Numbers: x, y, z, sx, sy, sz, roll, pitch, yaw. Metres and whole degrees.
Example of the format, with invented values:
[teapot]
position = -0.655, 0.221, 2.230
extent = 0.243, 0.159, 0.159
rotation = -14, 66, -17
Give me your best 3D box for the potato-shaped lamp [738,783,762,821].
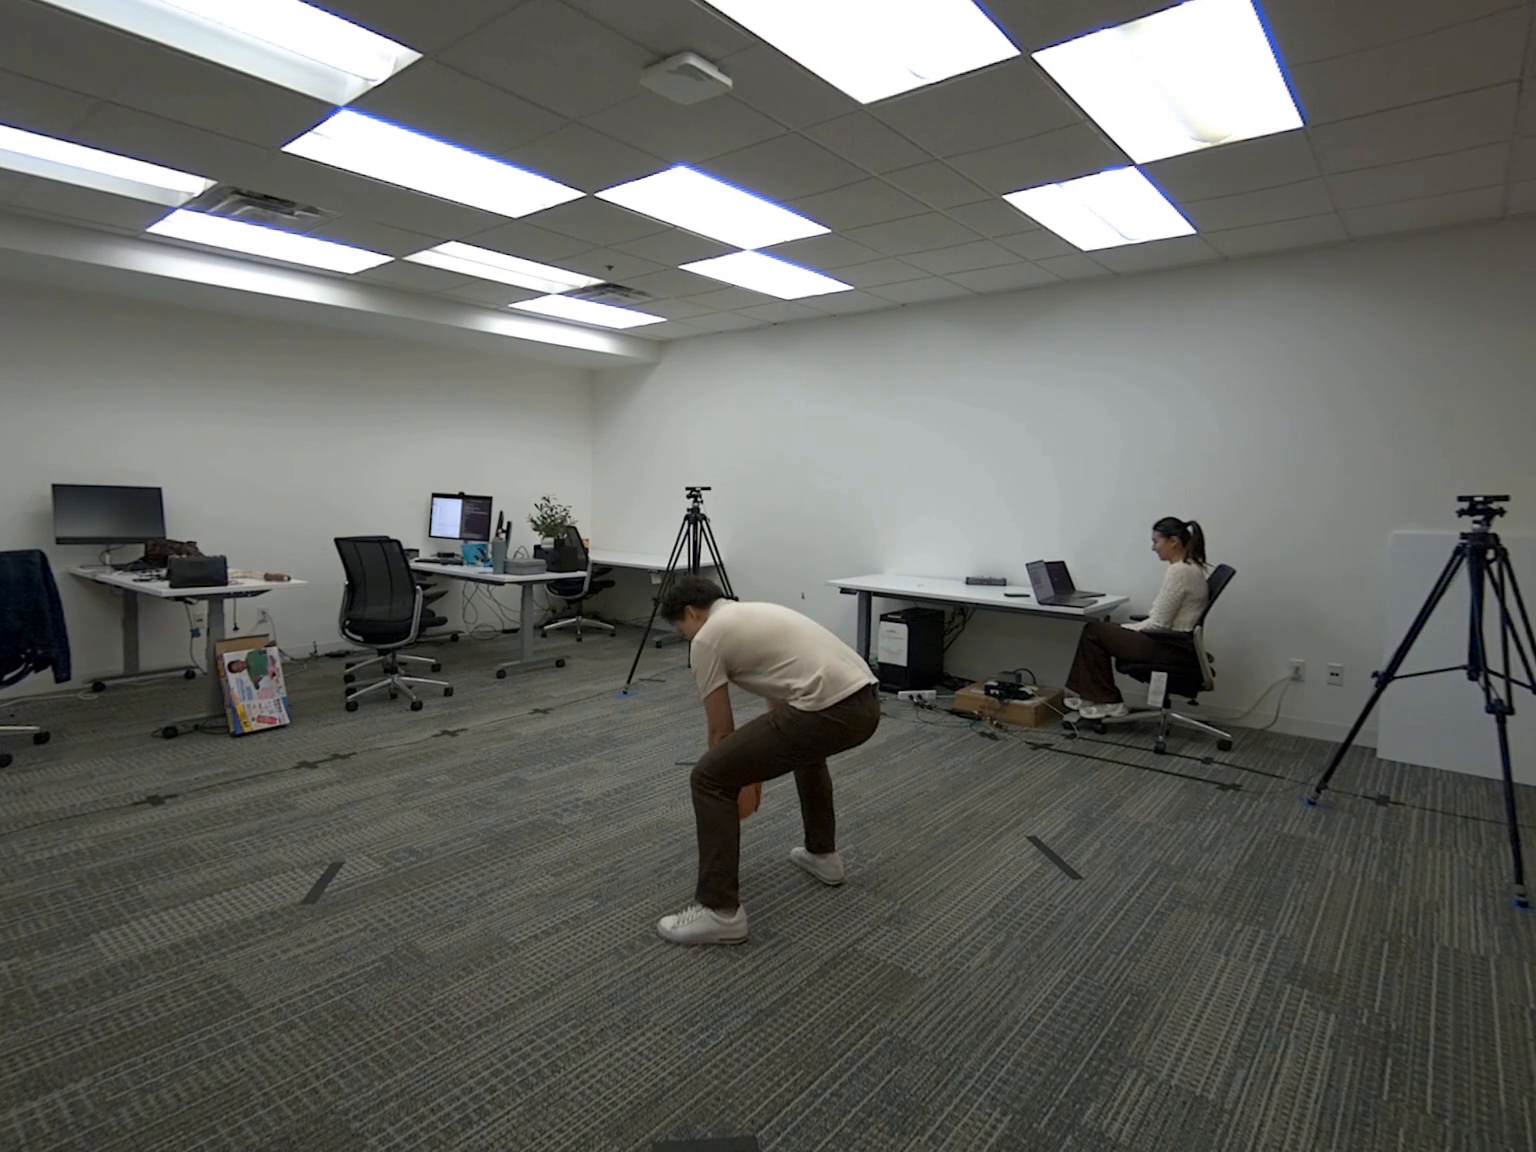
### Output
[potato-shaped lamp]
position = -0.131, 0.765, 3.057
extent = 0.176, 0.198, 0.160
rotation = -8, -1, 40
